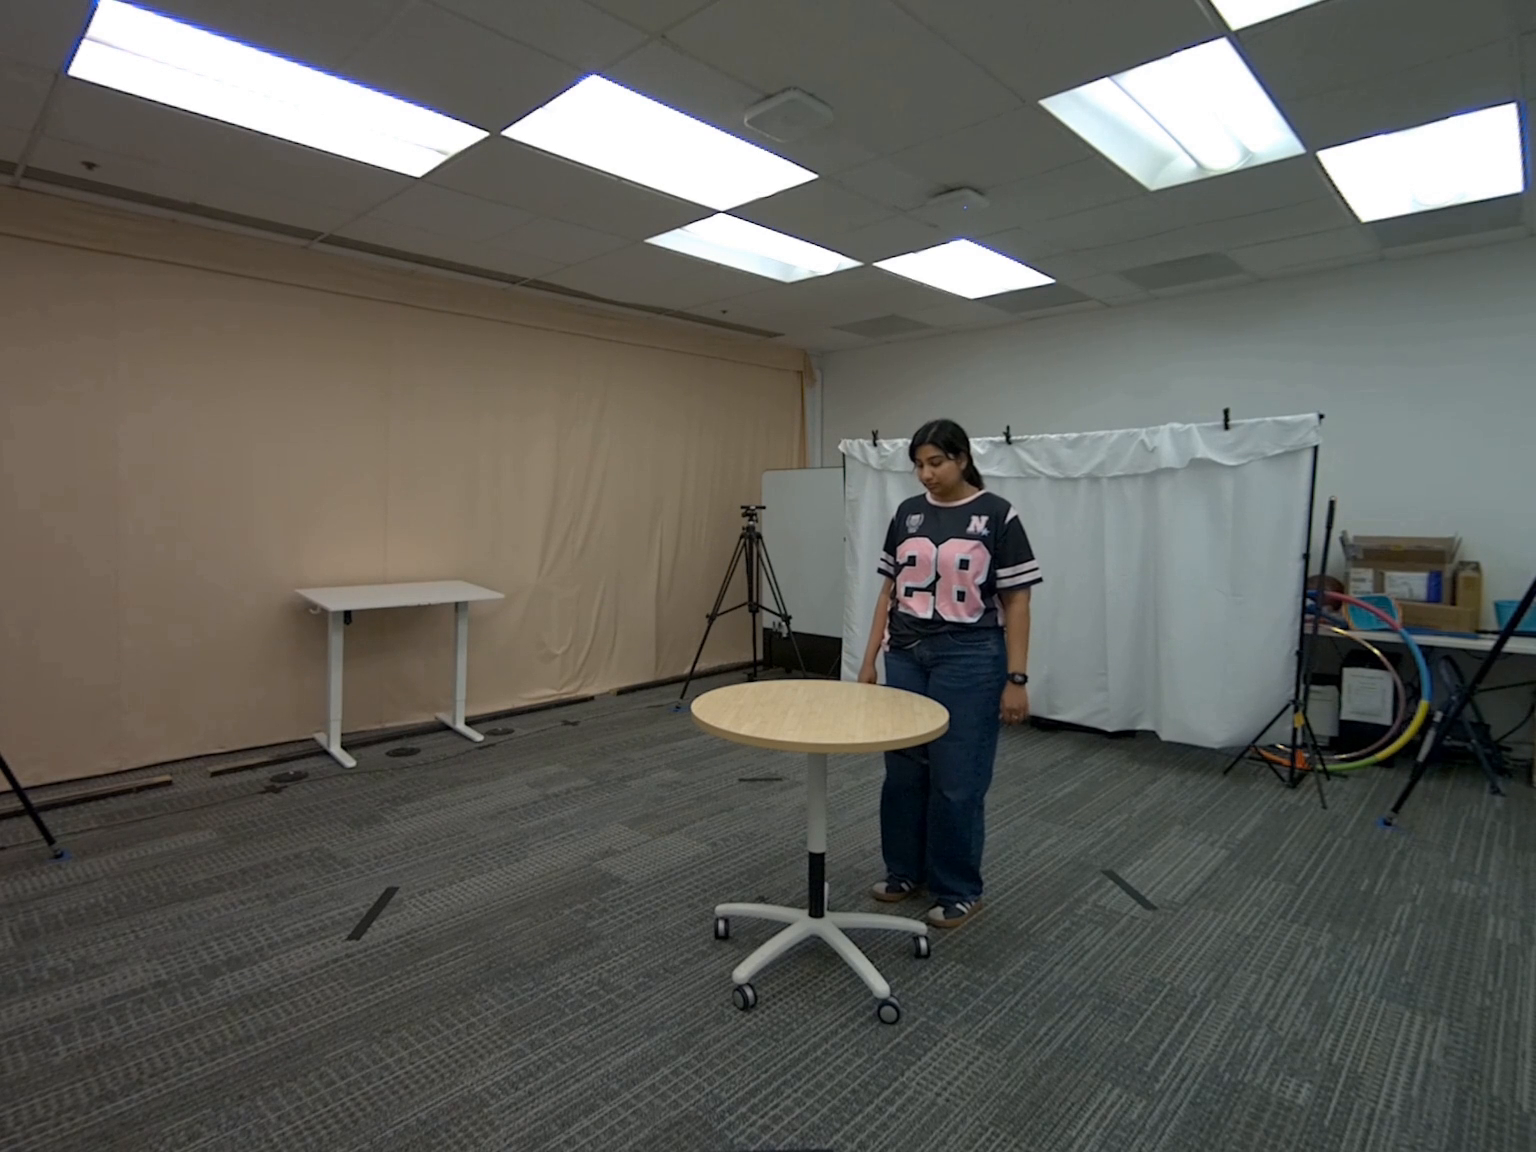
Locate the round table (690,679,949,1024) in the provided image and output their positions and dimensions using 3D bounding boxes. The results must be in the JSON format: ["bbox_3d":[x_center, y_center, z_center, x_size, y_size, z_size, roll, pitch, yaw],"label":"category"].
[{"bbox_3d":[0.164,0.786,2.557,0.784,0.784,0.788,-1,4,-2],"label":"round table"}]
